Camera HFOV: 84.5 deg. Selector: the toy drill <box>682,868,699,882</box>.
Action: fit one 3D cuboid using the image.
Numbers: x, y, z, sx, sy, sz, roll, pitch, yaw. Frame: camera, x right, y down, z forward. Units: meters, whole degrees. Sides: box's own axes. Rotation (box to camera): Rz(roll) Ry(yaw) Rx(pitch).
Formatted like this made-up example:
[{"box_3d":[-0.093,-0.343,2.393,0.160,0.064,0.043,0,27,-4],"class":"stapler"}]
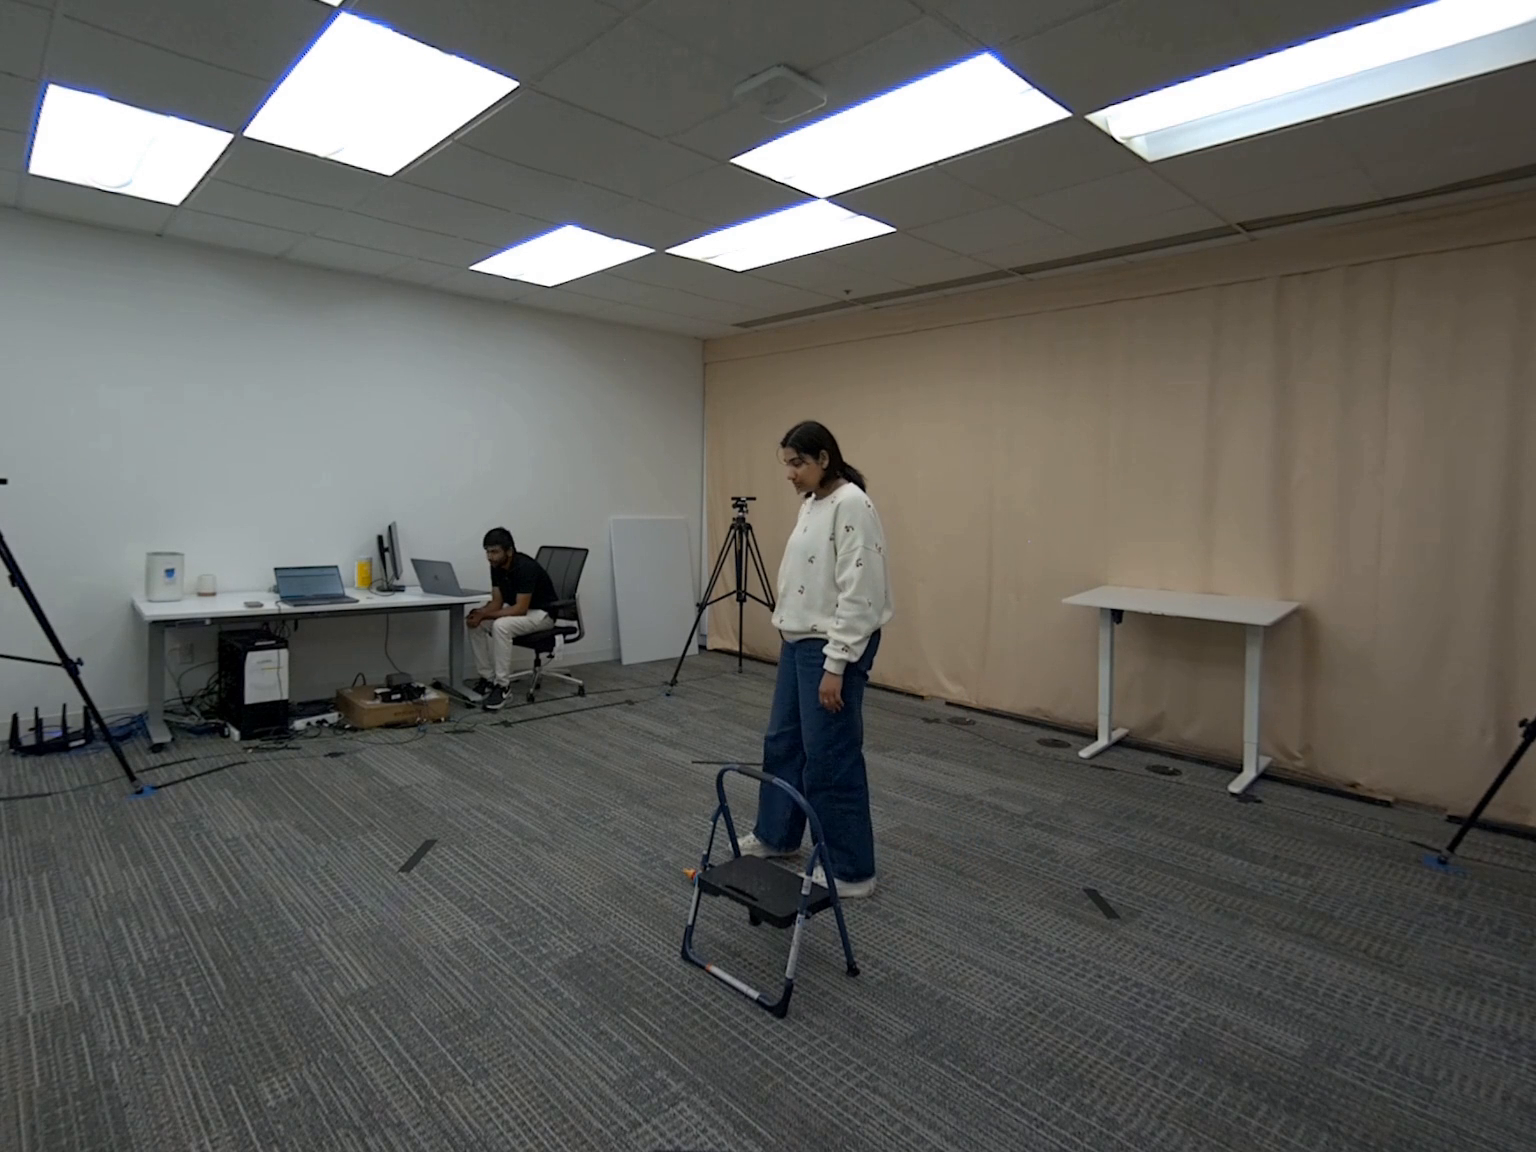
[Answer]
[{"box_3d":[-0.210,1.079,3.035,0.174,0.061,0.143,9,9,35],"class":"toy drill"}]
